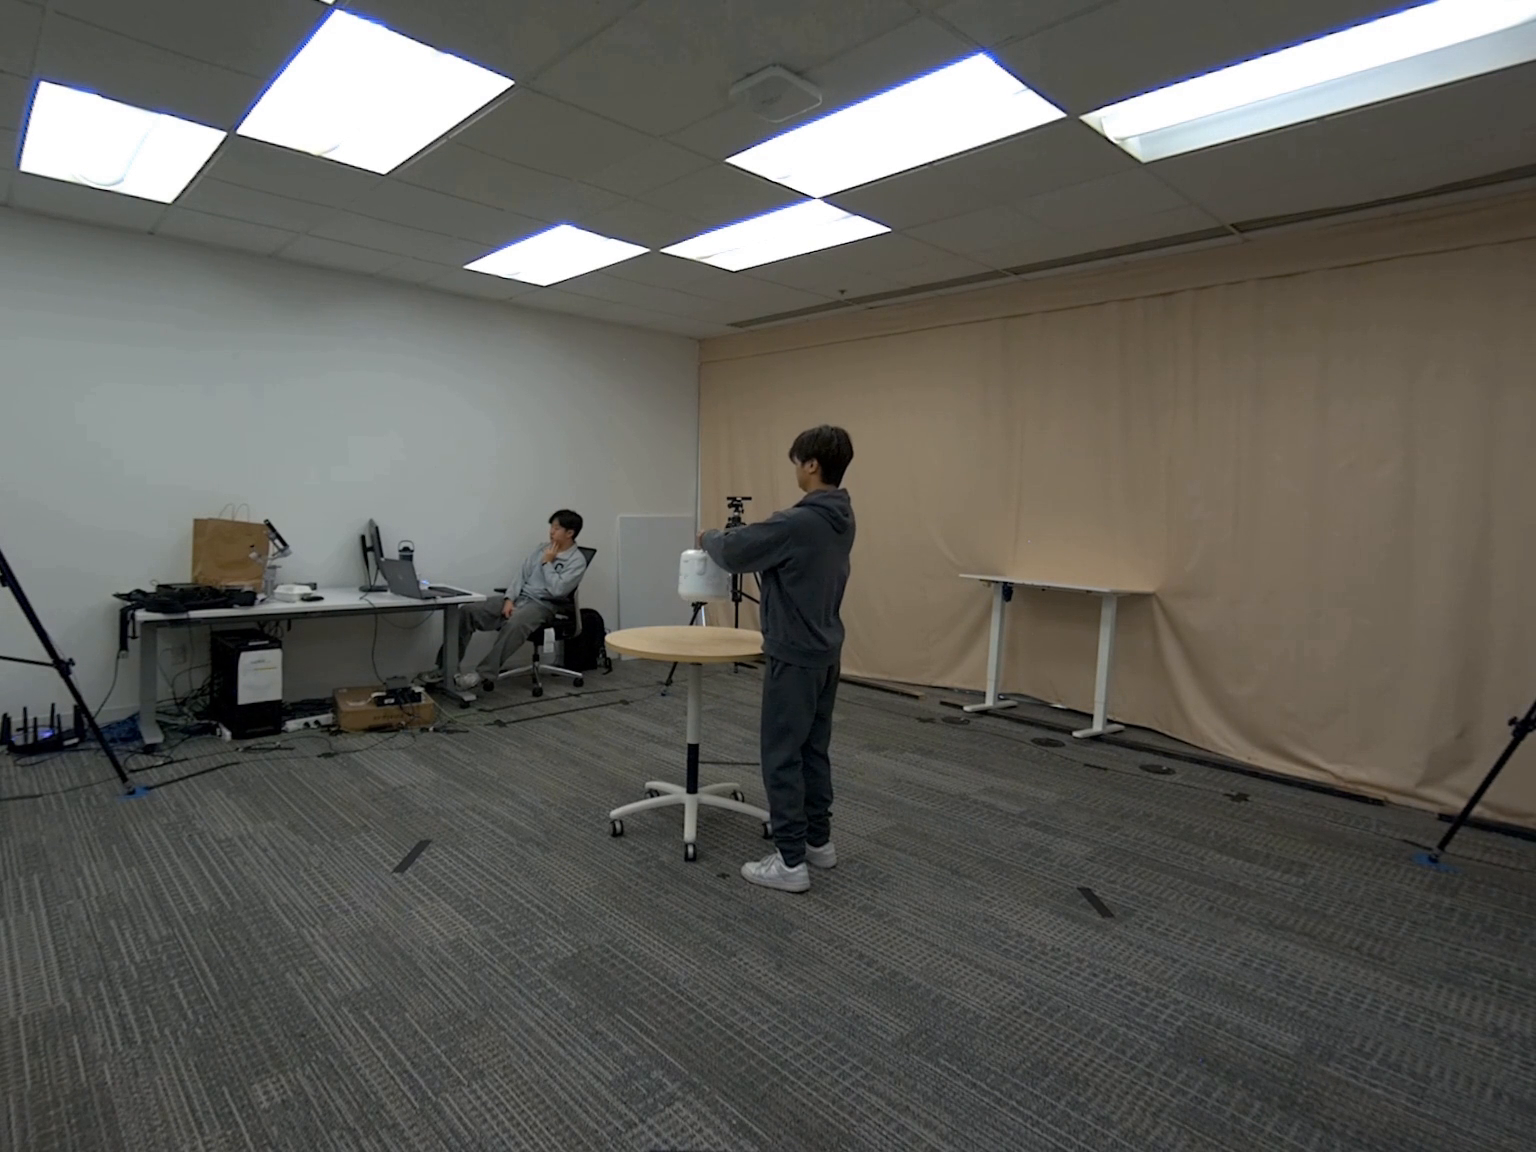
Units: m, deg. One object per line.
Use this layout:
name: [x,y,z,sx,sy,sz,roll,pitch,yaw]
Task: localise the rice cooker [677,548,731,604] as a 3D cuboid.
rice cooker: [-0.261,-0.010,3.456,0.220,0.233,0.218,4,0,12]
